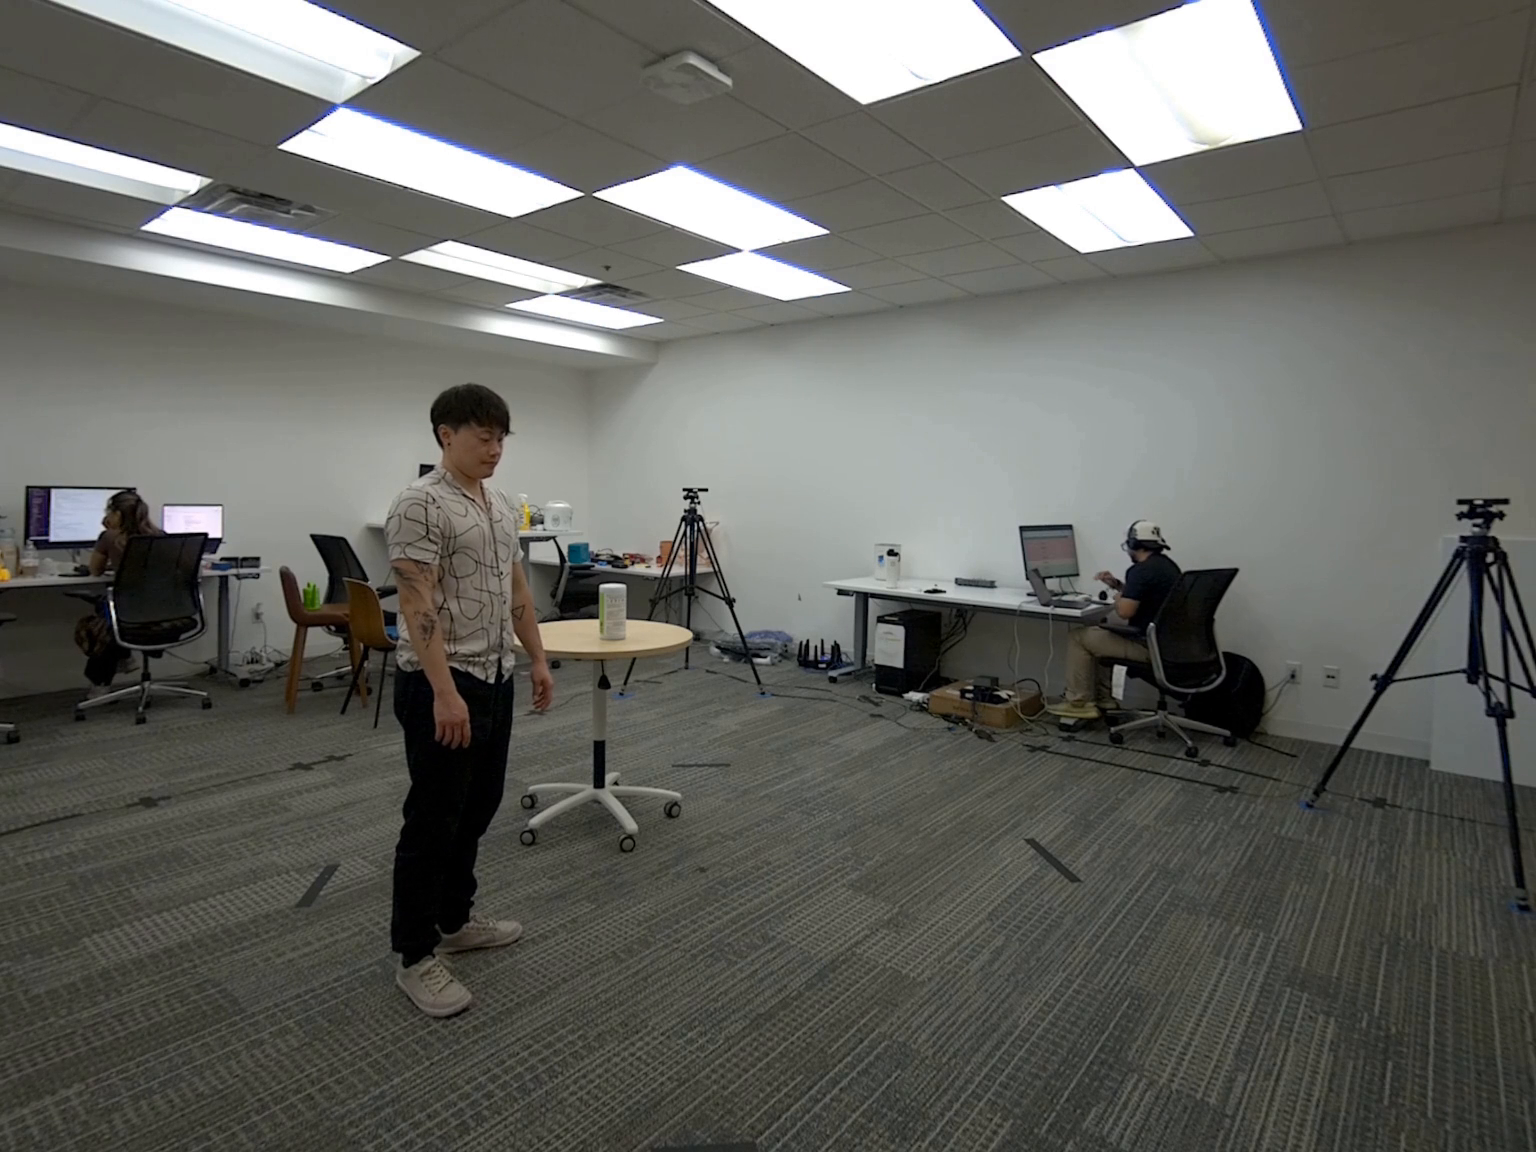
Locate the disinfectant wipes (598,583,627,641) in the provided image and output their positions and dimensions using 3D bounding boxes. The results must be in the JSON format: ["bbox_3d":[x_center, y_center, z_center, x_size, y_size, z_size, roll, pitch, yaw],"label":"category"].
[{"bbox_3d":[-0.636,0.141,3.427,0.118,0.217,0.118,0,3,-2],"label":"disinfectant wipes"}]
